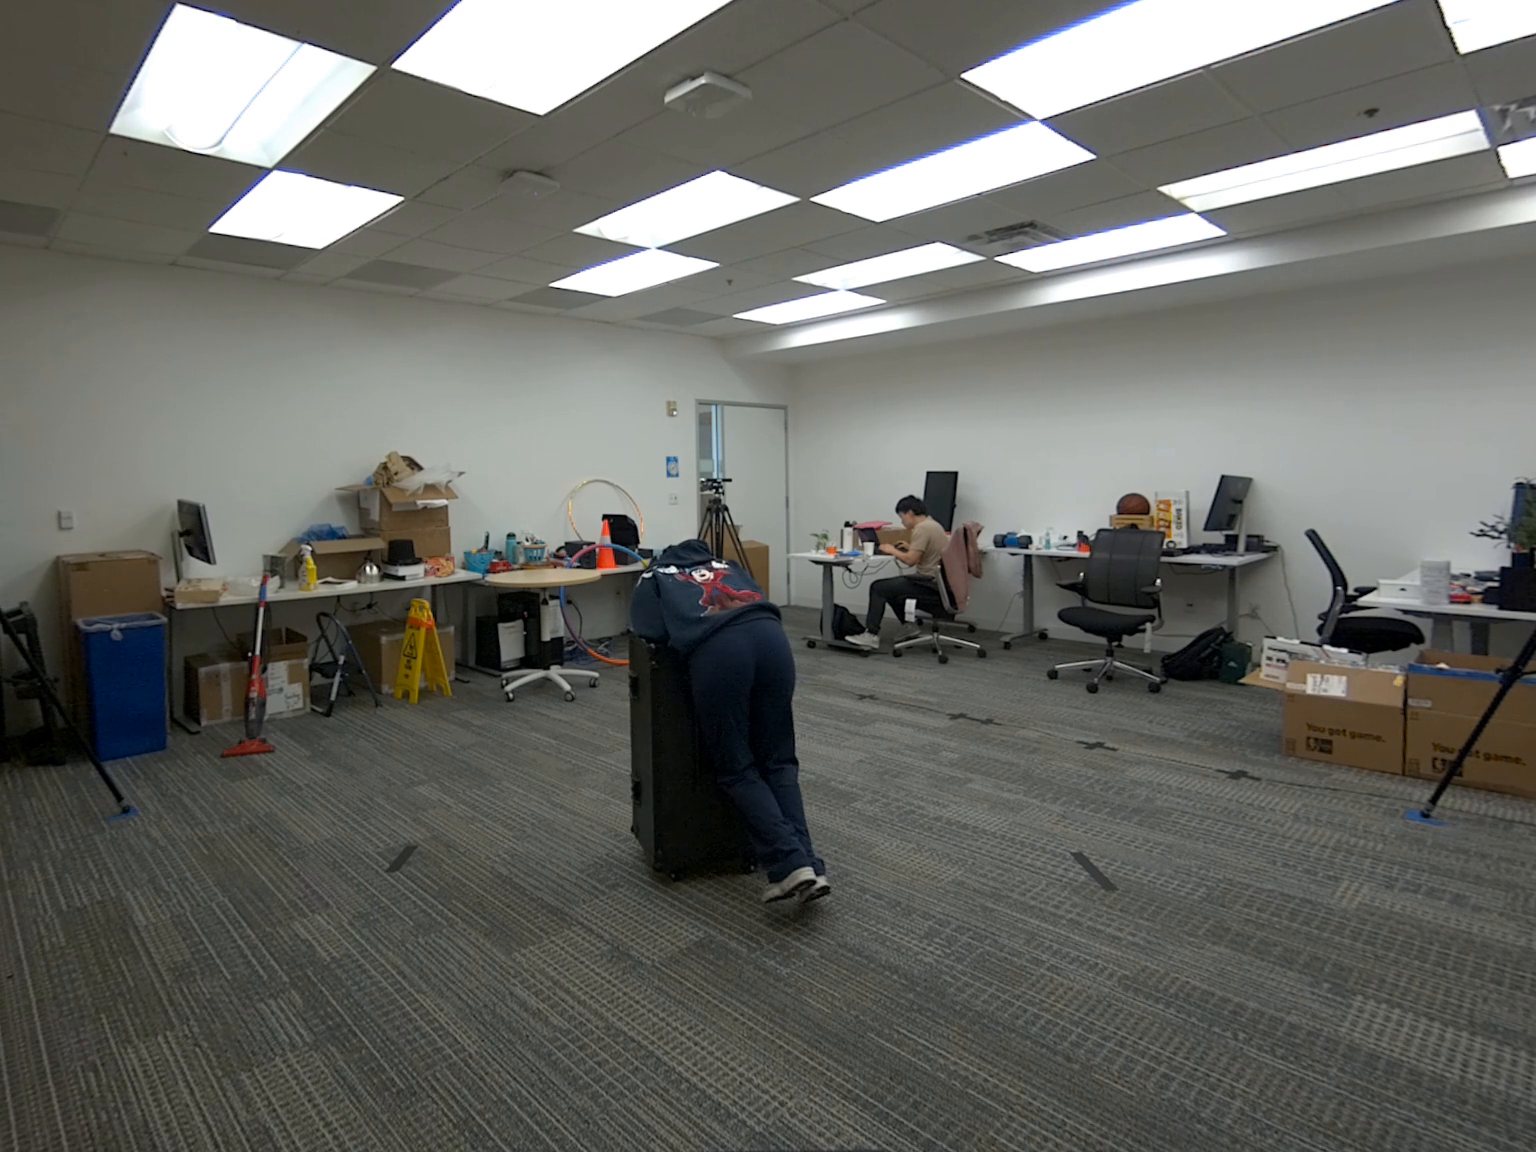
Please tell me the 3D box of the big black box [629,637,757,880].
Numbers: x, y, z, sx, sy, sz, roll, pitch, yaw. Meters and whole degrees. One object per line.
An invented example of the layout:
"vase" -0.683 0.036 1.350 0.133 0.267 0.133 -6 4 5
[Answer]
"big black box" -0.223 0.629 3.102 0.513 0.857 0.405 -2 6 -19
